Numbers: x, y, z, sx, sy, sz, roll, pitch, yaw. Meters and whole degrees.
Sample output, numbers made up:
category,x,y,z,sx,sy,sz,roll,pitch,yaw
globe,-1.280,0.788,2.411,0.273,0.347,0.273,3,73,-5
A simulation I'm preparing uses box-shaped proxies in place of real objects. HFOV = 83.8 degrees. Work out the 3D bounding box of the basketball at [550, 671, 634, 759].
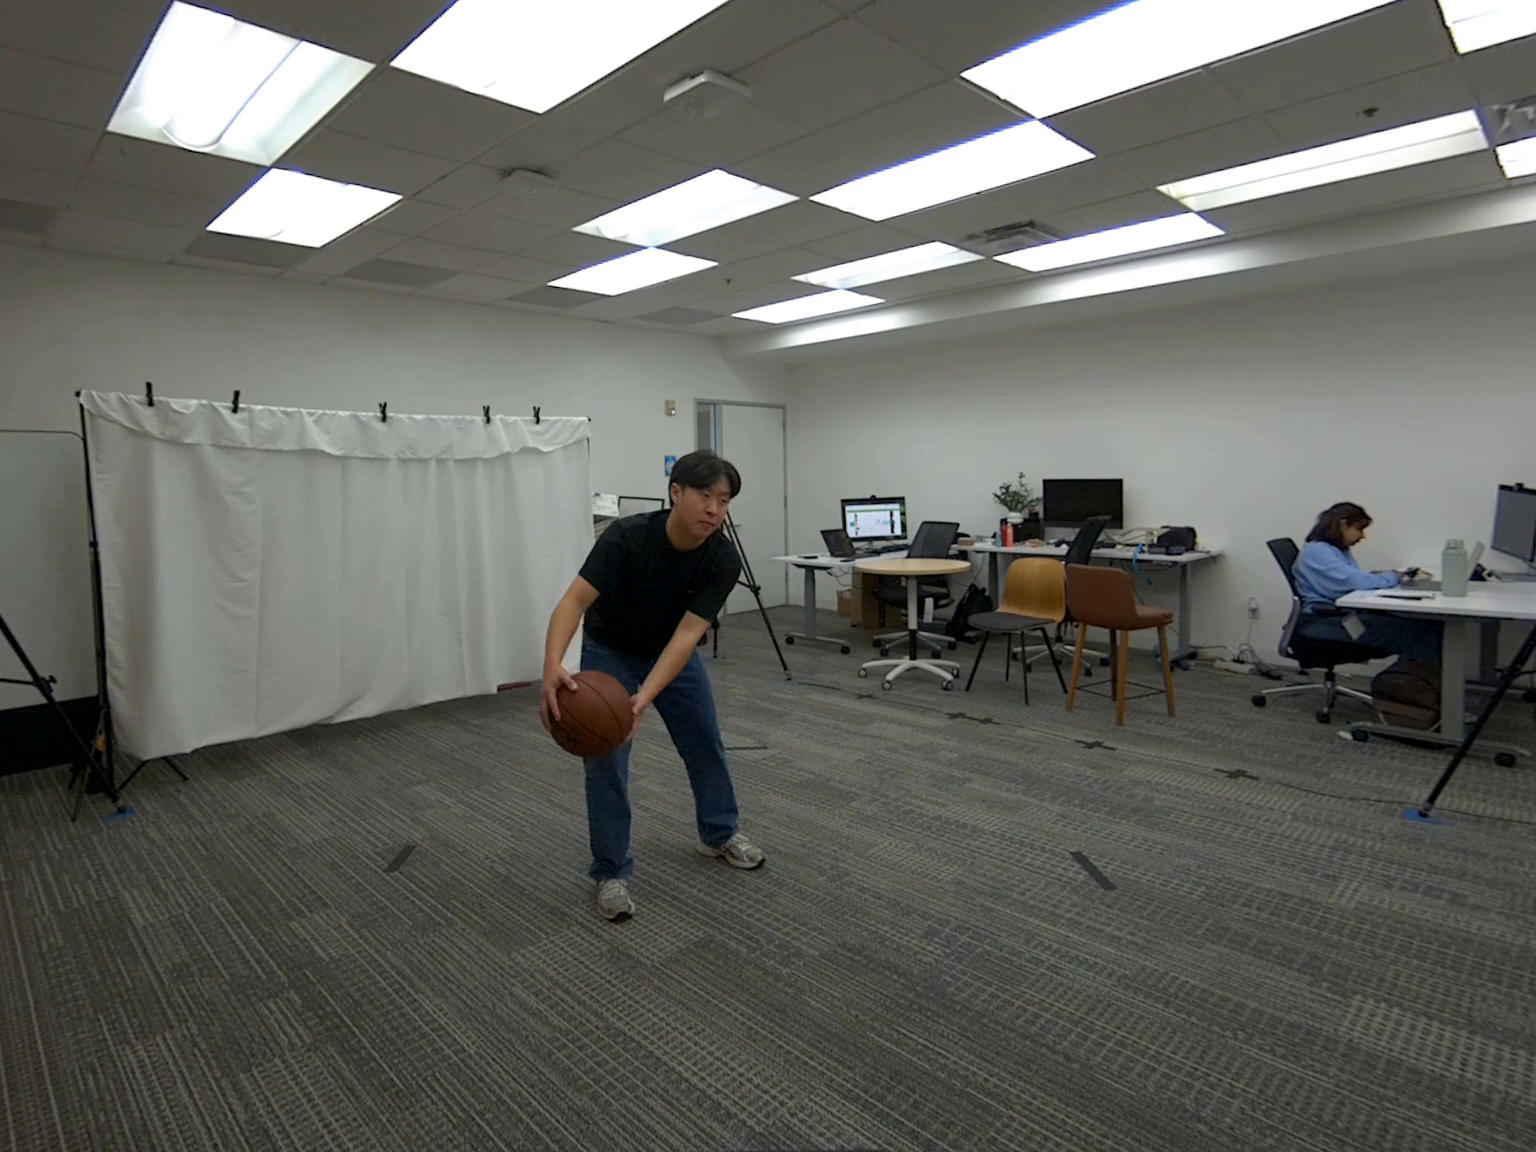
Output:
category,x,y,z,sx,sy,sz,roll,pitch,yaw
basketball,-0.493,0.390,2.404,0.236,0.235,0.237,-1,5,-2
